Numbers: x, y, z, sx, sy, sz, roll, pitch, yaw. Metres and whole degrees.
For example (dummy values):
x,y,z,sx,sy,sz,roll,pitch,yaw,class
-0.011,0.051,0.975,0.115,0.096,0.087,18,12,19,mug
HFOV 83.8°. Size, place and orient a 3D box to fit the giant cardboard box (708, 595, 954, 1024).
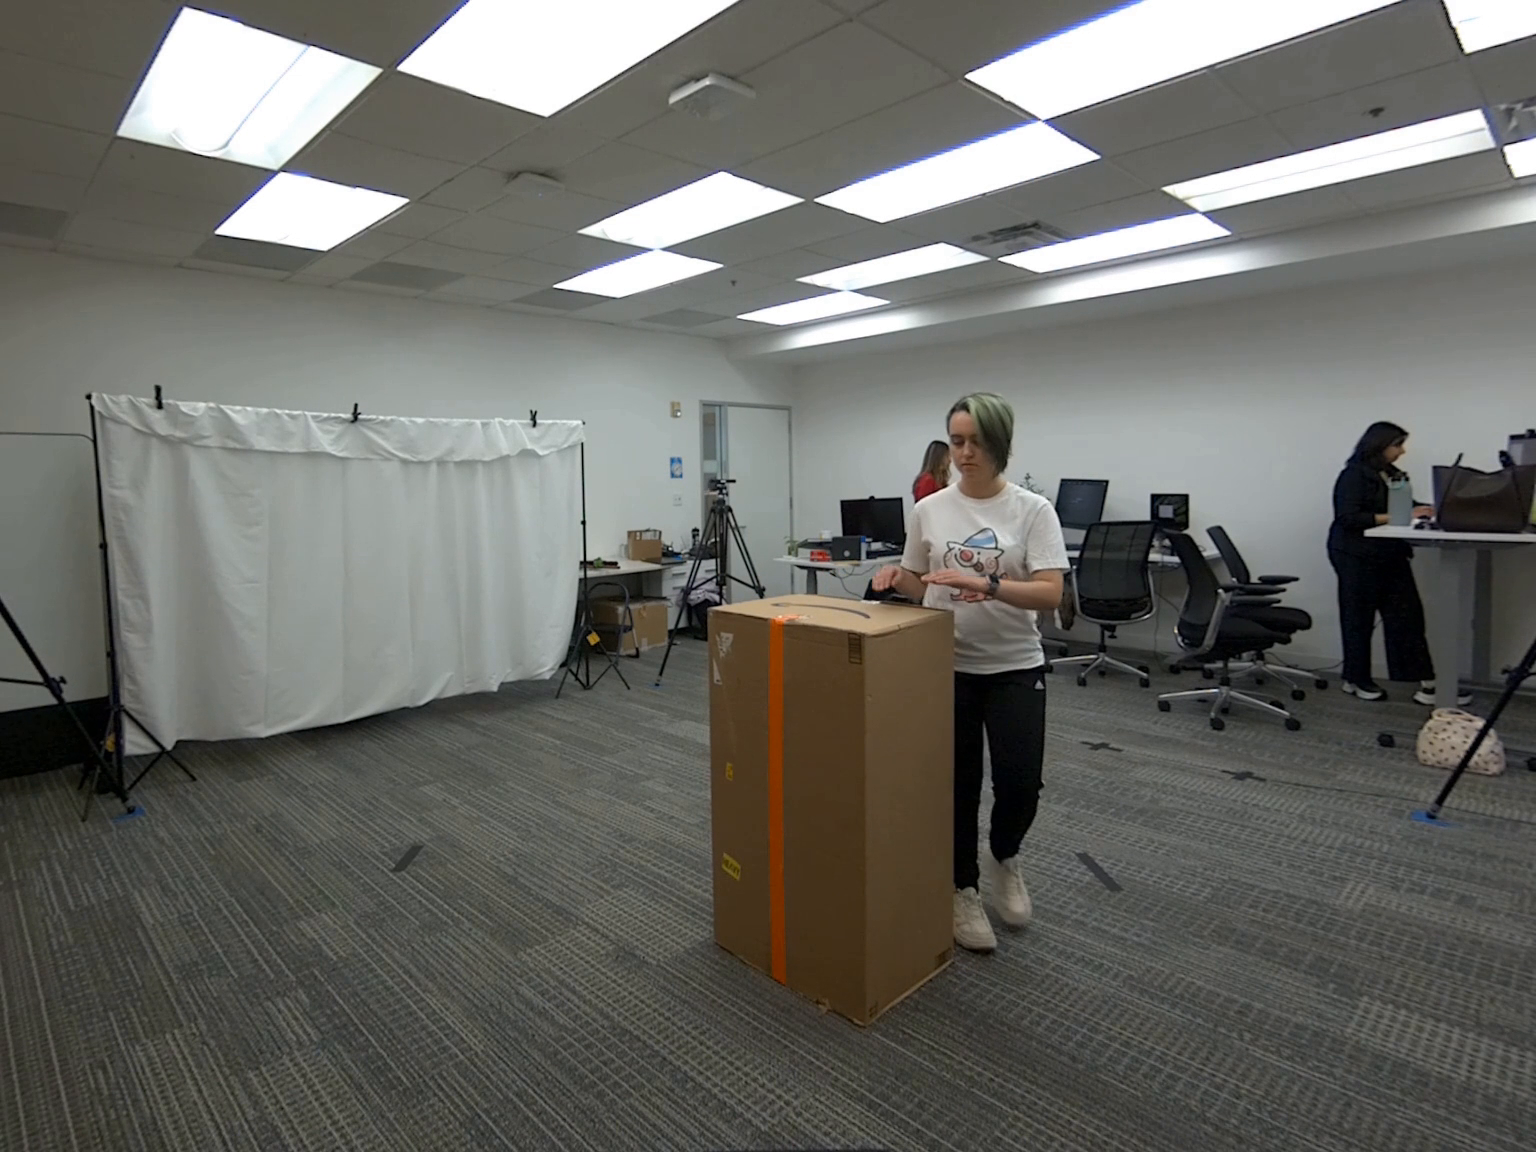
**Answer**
x,y,z,sx,sy,sz,roll,pitch,yaw,class
0.178,0.609,2.479,0.602,1.023,0.435,4,6,44,giant cardboard box
